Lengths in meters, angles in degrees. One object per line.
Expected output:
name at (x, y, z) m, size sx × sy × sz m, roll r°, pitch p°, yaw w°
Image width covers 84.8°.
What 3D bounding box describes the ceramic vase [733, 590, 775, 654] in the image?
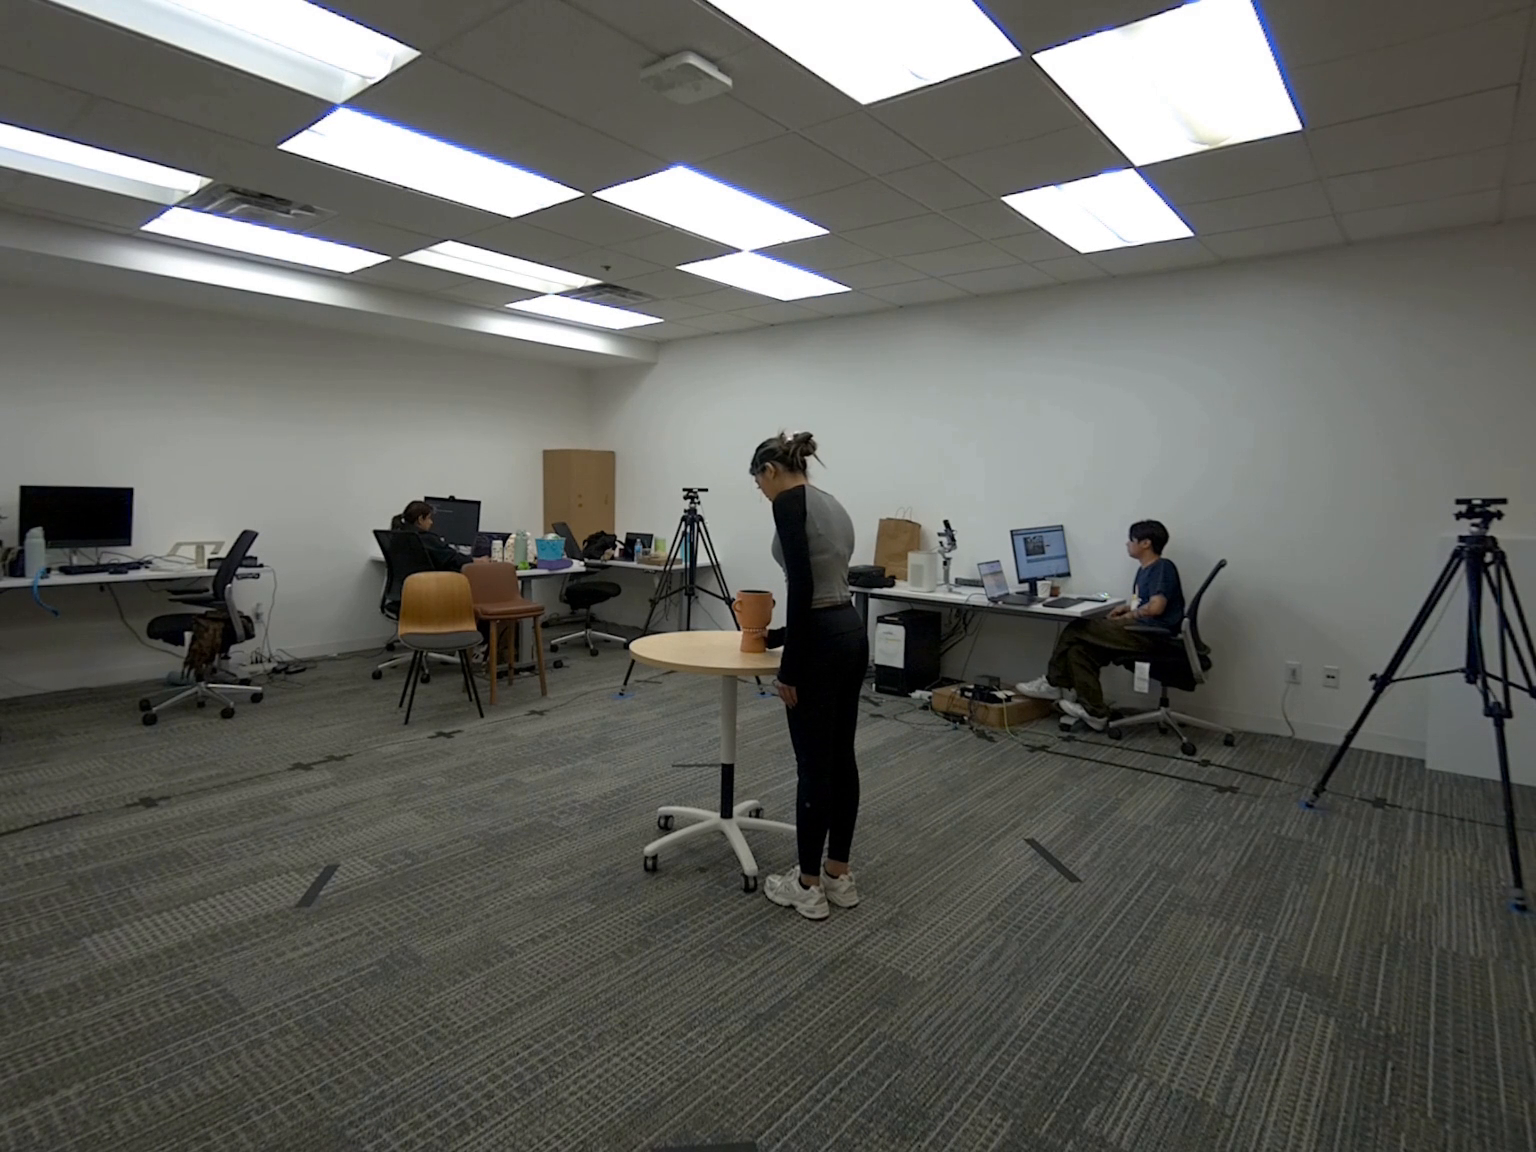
ceramic vase at (-0.059, 0.164, 3.159) m, size 0.159 × 0.219 × 0.134 m, roll 1°, pitch 3°, yaw 4°
